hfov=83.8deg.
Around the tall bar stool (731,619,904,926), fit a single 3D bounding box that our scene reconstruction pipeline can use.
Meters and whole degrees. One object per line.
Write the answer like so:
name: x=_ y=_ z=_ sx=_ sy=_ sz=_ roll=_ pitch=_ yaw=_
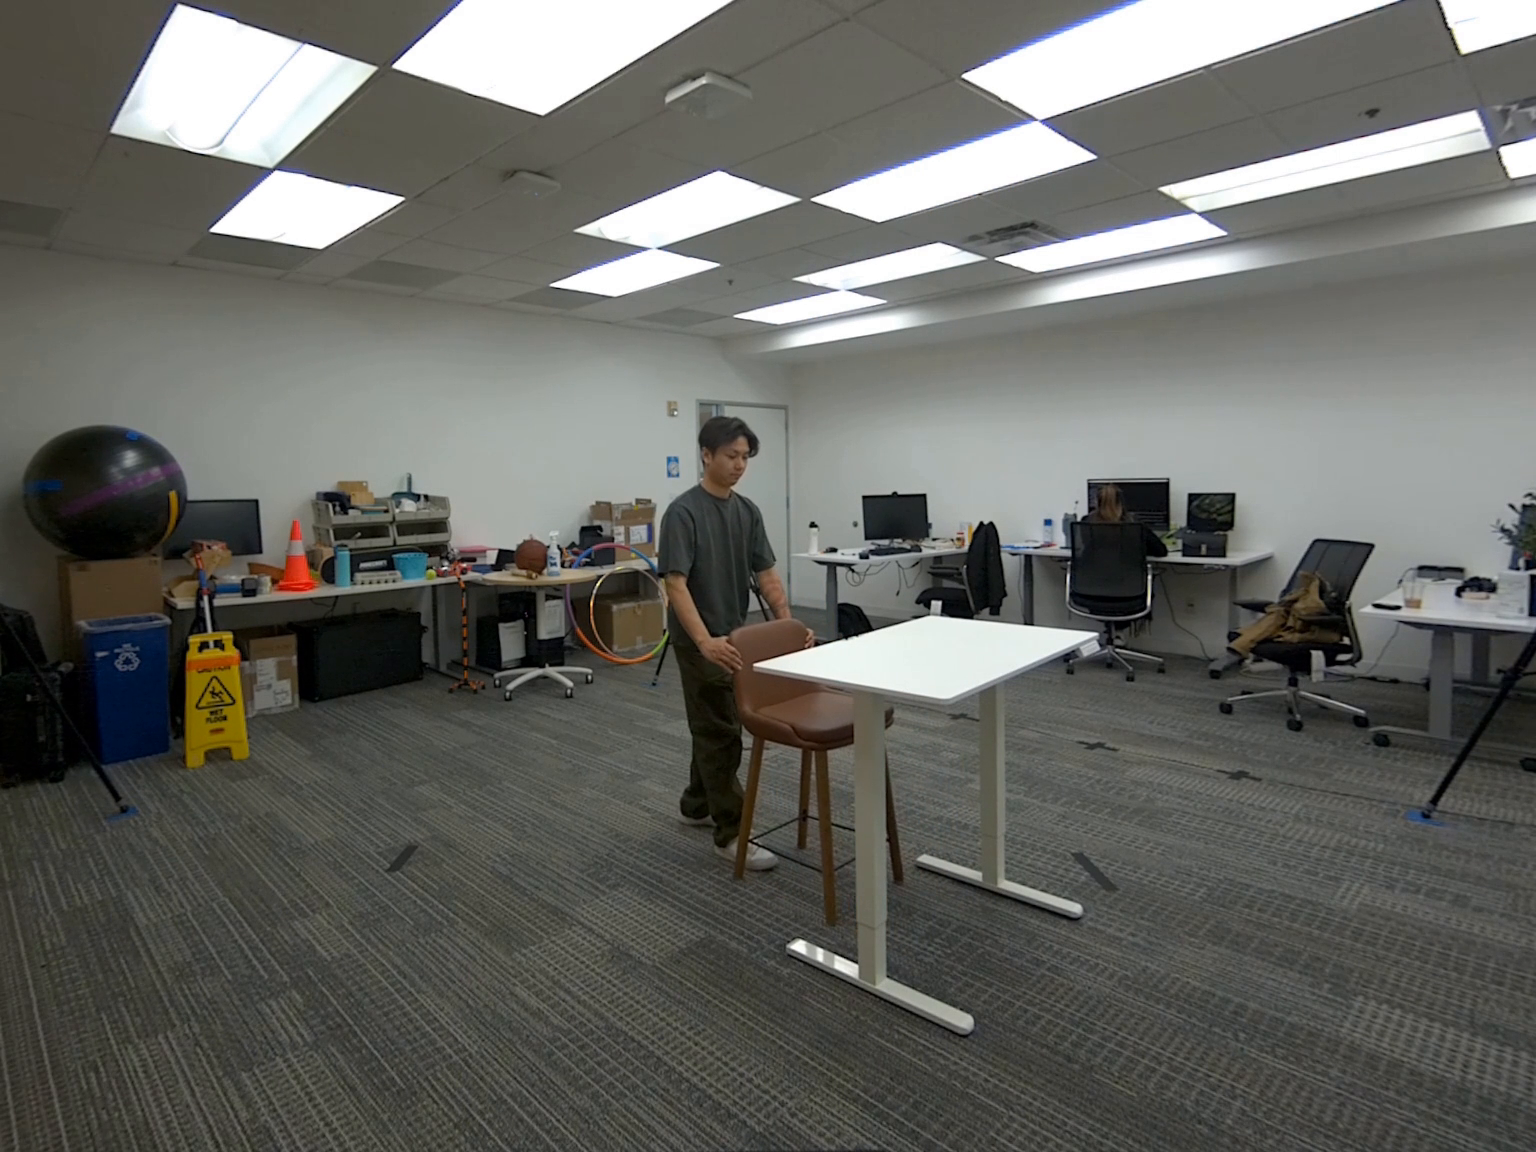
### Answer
tall bar stool: x=0.154 y=0.615 z=2.947 sx=0.481 sy=0.888 sz=0.444 roll=-1 pitch=3 yaw=45
